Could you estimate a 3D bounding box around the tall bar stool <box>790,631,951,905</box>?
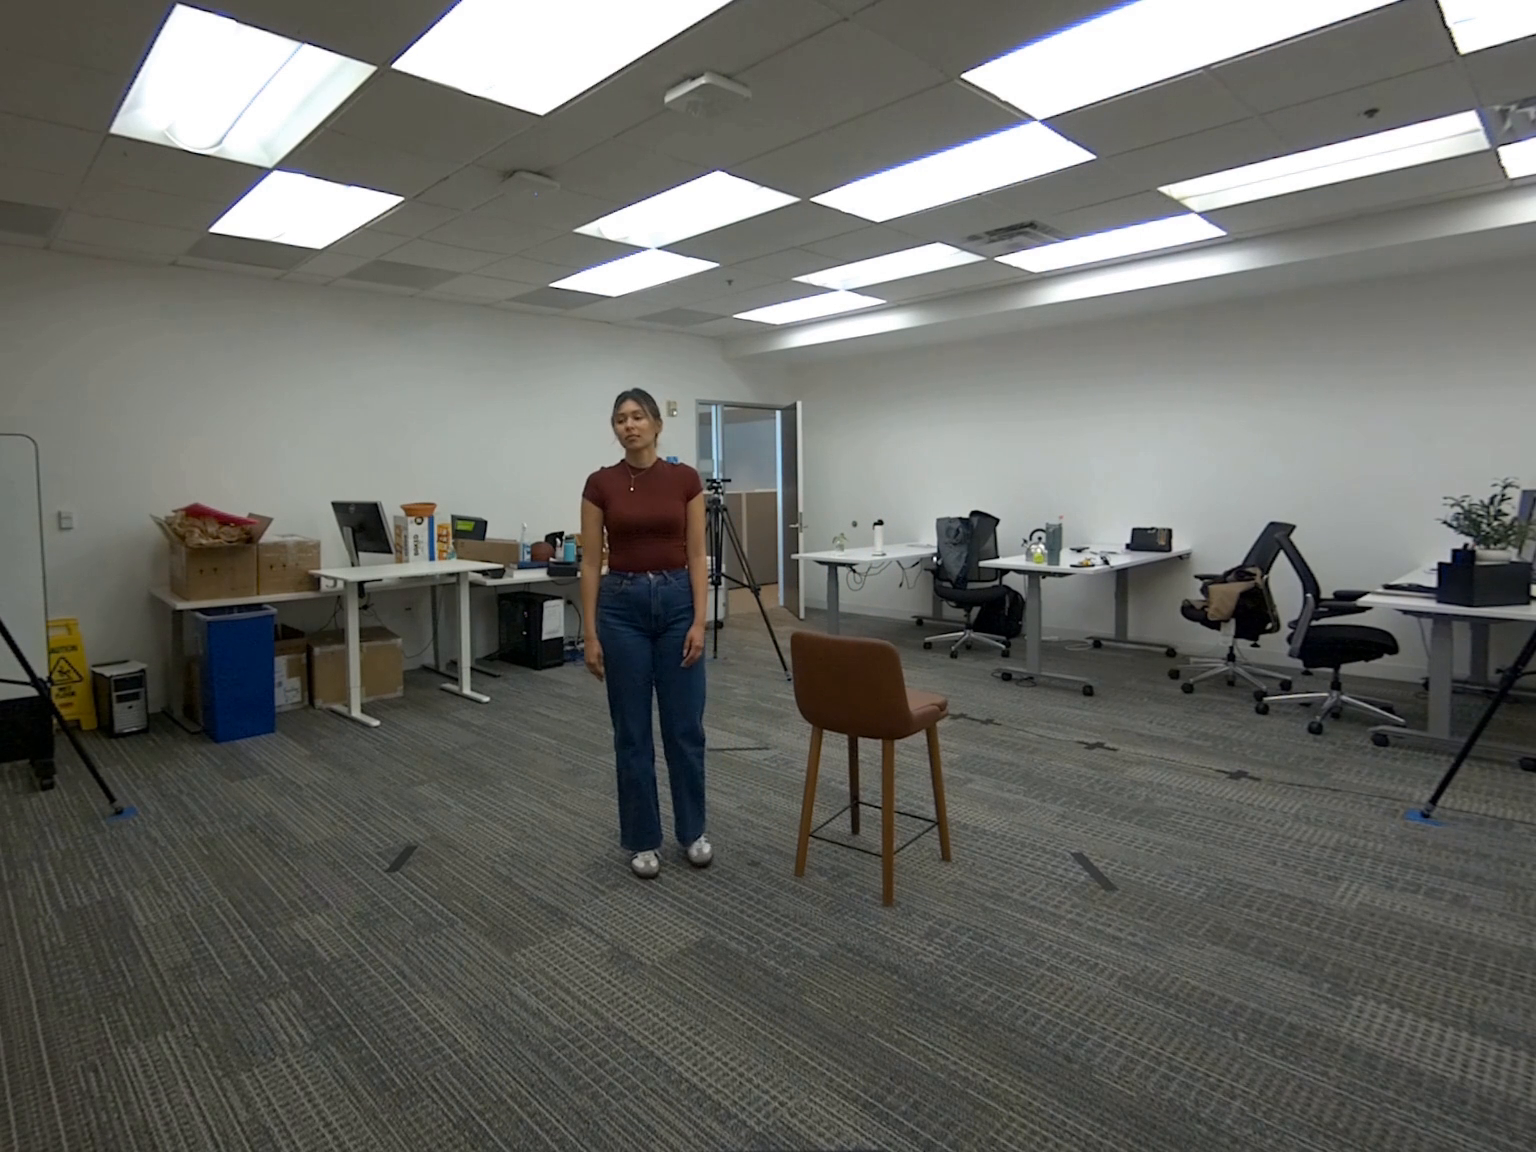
[{"bbox_3d":[0.368,0.613,3.032,0.470,0.886,0.456,3,7,38],"label":"tall bar stool"}]
